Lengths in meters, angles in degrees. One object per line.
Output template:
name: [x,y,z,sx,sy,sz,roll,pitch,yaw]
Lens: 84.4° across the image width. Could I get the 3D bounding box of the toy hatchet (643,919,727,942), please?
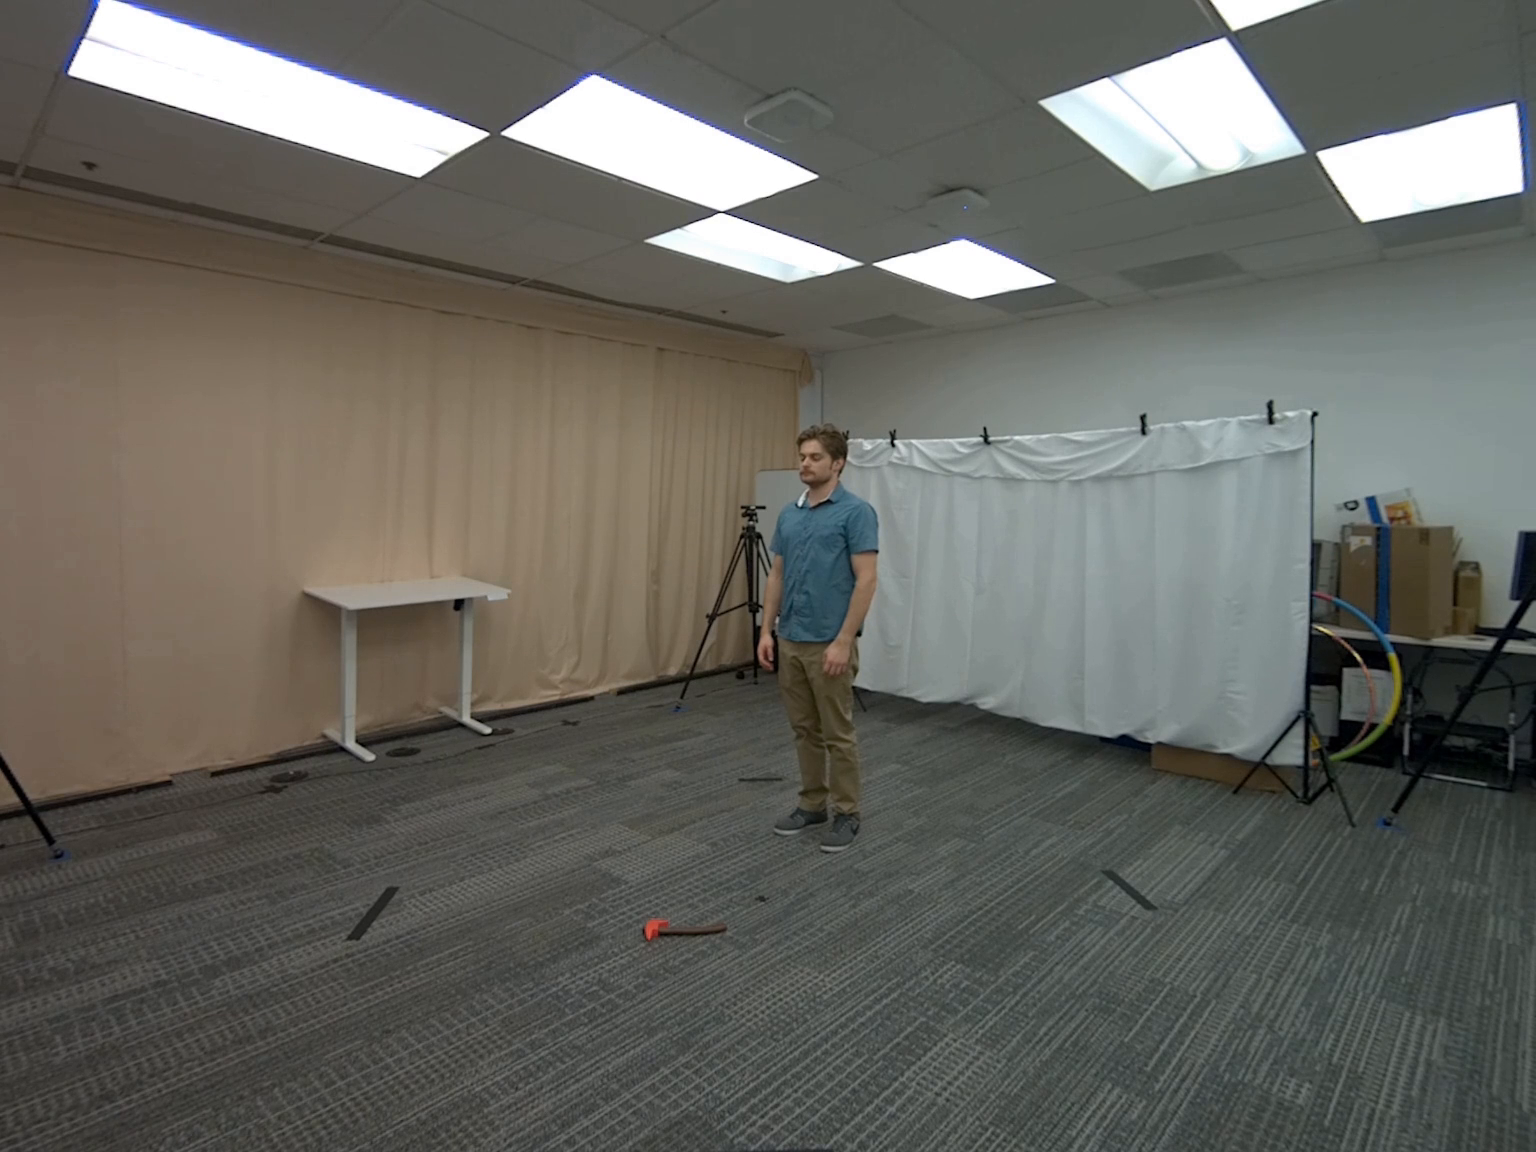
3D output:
toy hatchet: [-0.279,1.155,2.769,0.265,0.029,0.133,1,2,-18]
